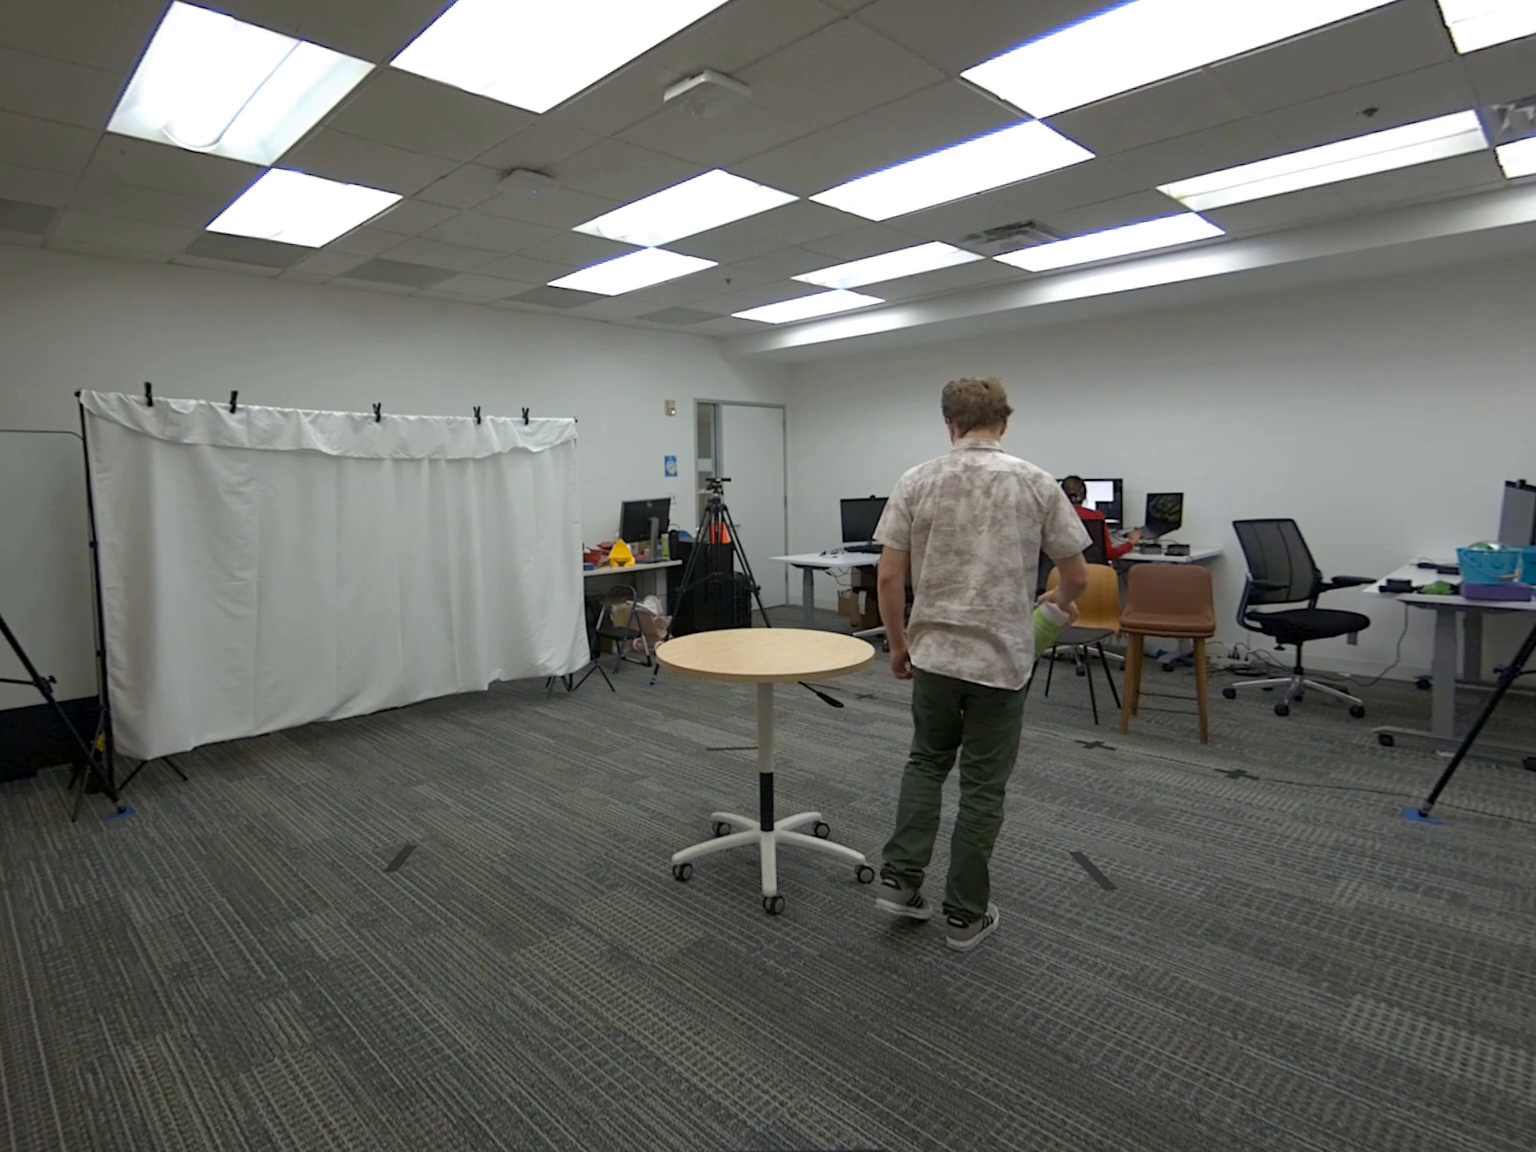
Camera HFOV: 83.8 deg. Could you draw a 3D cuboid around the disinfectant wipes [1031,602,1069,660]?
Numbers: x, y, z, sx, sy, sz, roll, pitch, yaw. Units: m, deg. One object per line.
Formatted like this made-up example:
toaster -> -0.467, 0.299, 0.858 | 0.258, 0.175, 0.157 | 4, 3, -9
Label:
disinfectant wipes -> 0.939, 0.182, 2.896 | 0.116, 0.214, 0.121 | 12, 39, -12
